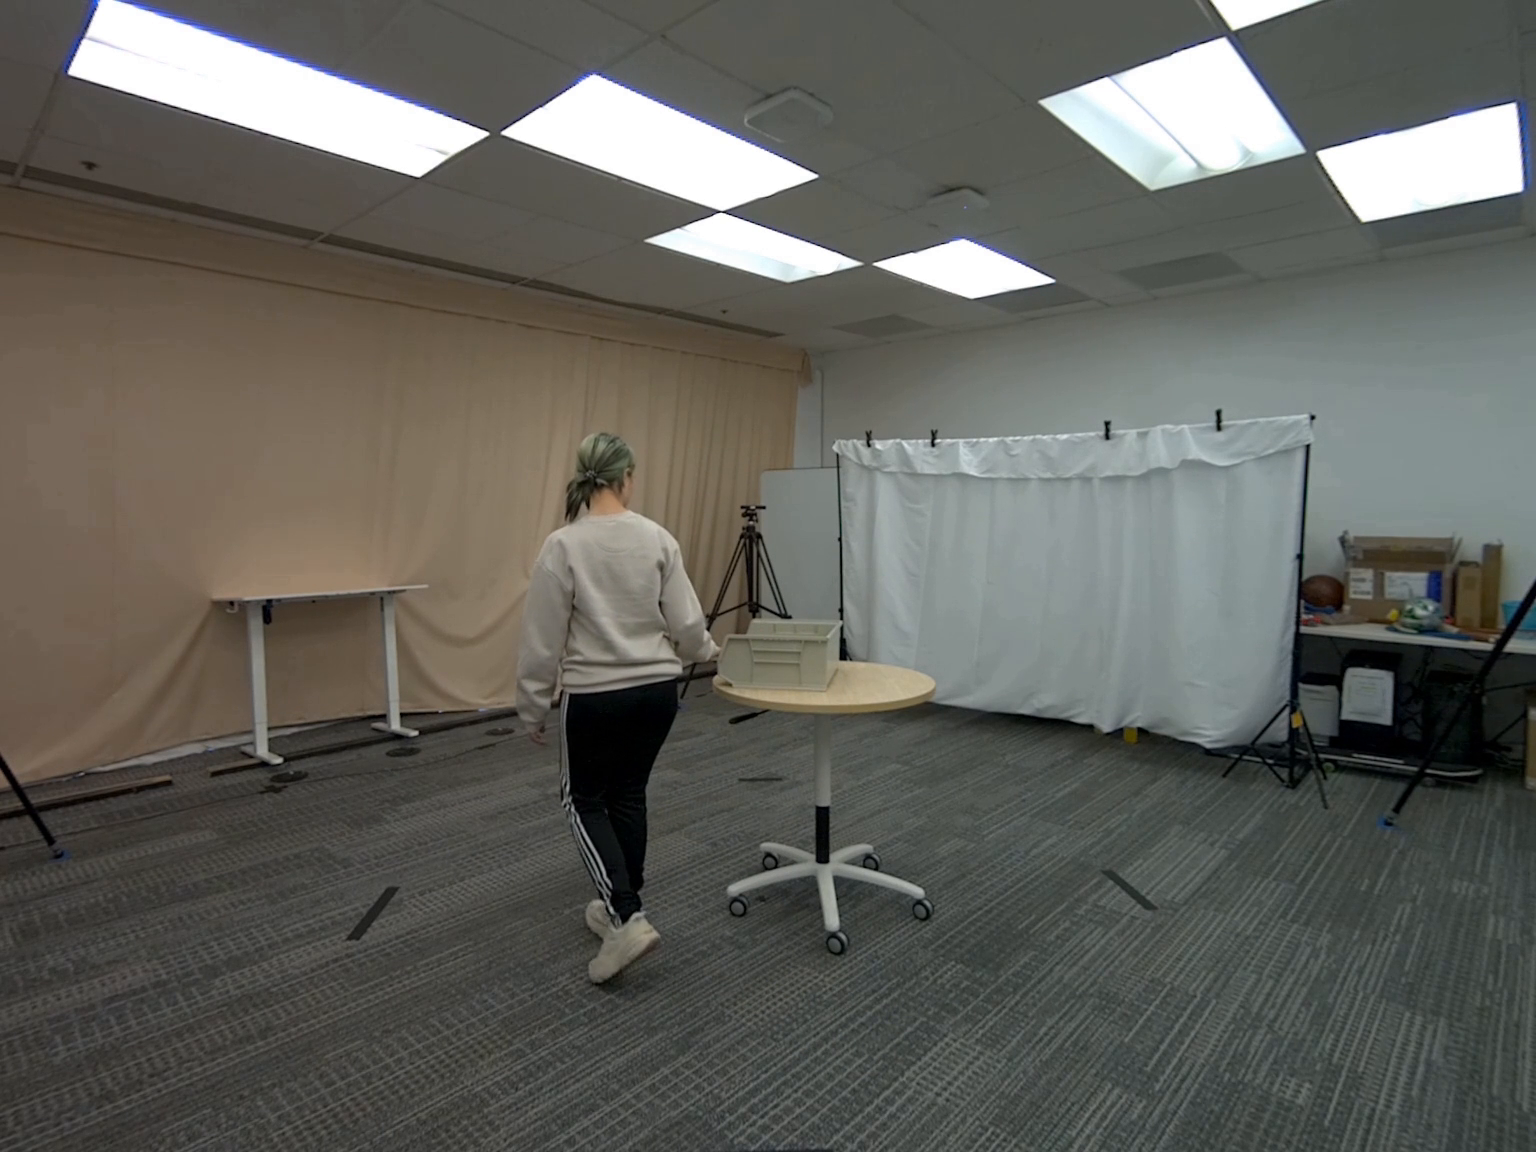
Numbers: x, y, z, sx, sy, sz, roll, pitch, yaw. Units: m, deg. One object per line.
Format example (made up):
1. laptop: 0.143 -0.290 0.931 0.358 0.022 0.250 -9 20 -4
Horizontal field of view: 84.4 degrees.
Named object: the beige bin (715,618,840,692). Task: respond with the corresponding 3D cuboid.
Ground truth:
1. beige bin: 0.057 0.268 2.973 0.383 0.188 0.417 2 4 12
